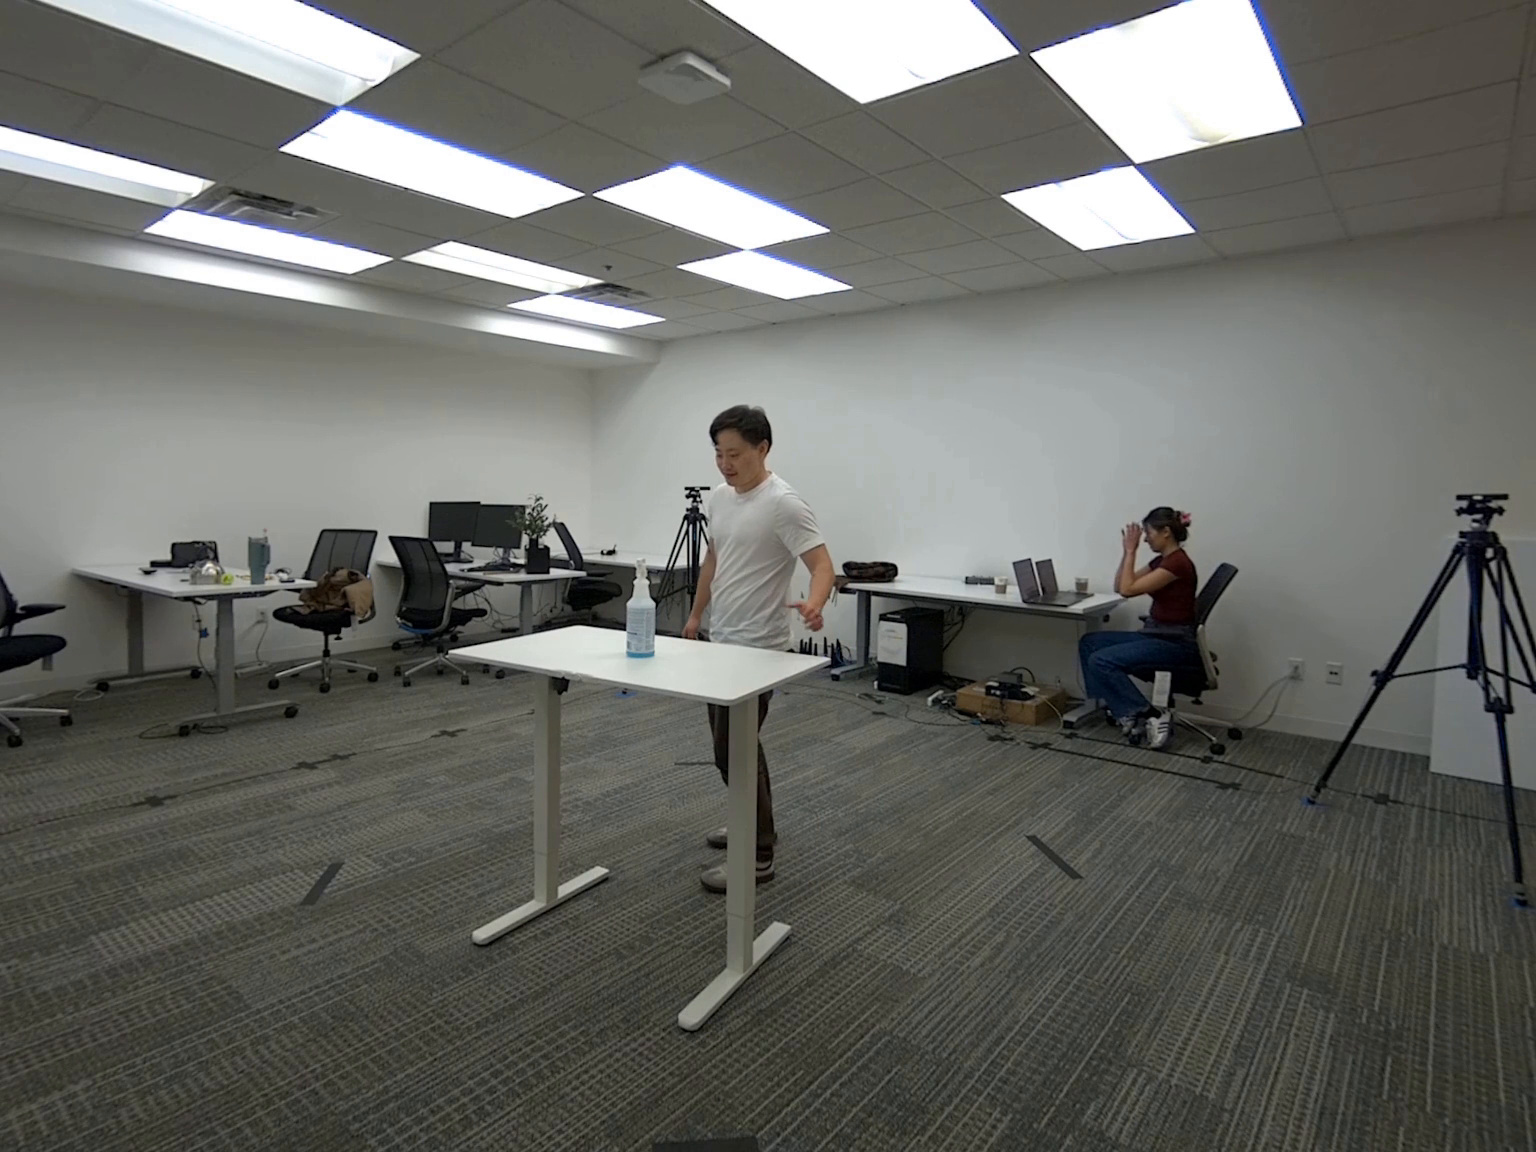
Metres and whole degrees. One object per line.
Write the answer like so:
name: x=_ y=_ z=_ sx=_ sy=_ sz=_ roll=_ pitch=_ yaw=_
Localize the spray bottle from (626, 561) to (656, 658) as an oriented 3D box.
spray bottle: x=-0.392 y=0.093 z=2.556 sx=0.089 sy=0.296 sz=0.088 roll=3 pitch=5 yaw=27
